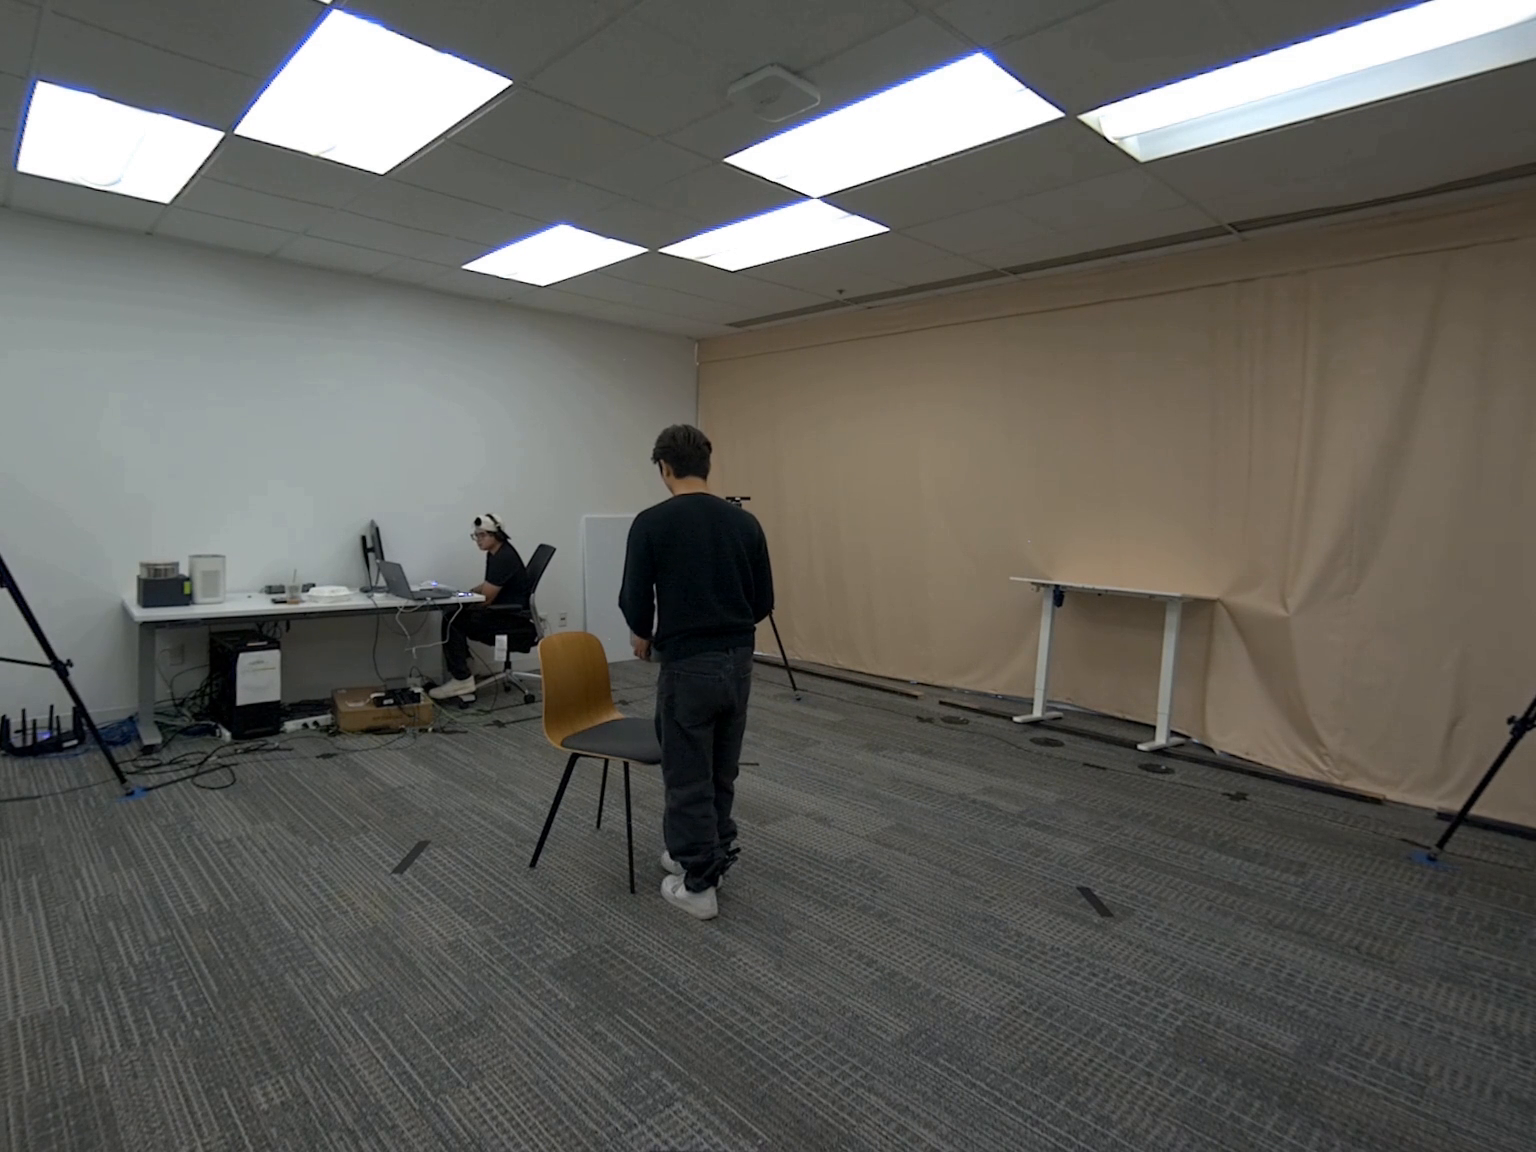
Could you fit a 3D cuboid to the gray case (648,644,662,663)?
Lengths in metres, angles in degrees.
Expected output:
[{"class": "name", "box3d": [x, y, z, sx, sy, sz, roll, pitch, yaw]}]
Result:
[{"class": "gray case", "box3d": [-0.382, 0.237, 3.137, 0.253, 0.103, 0.266, 1, 12, -20]}]
